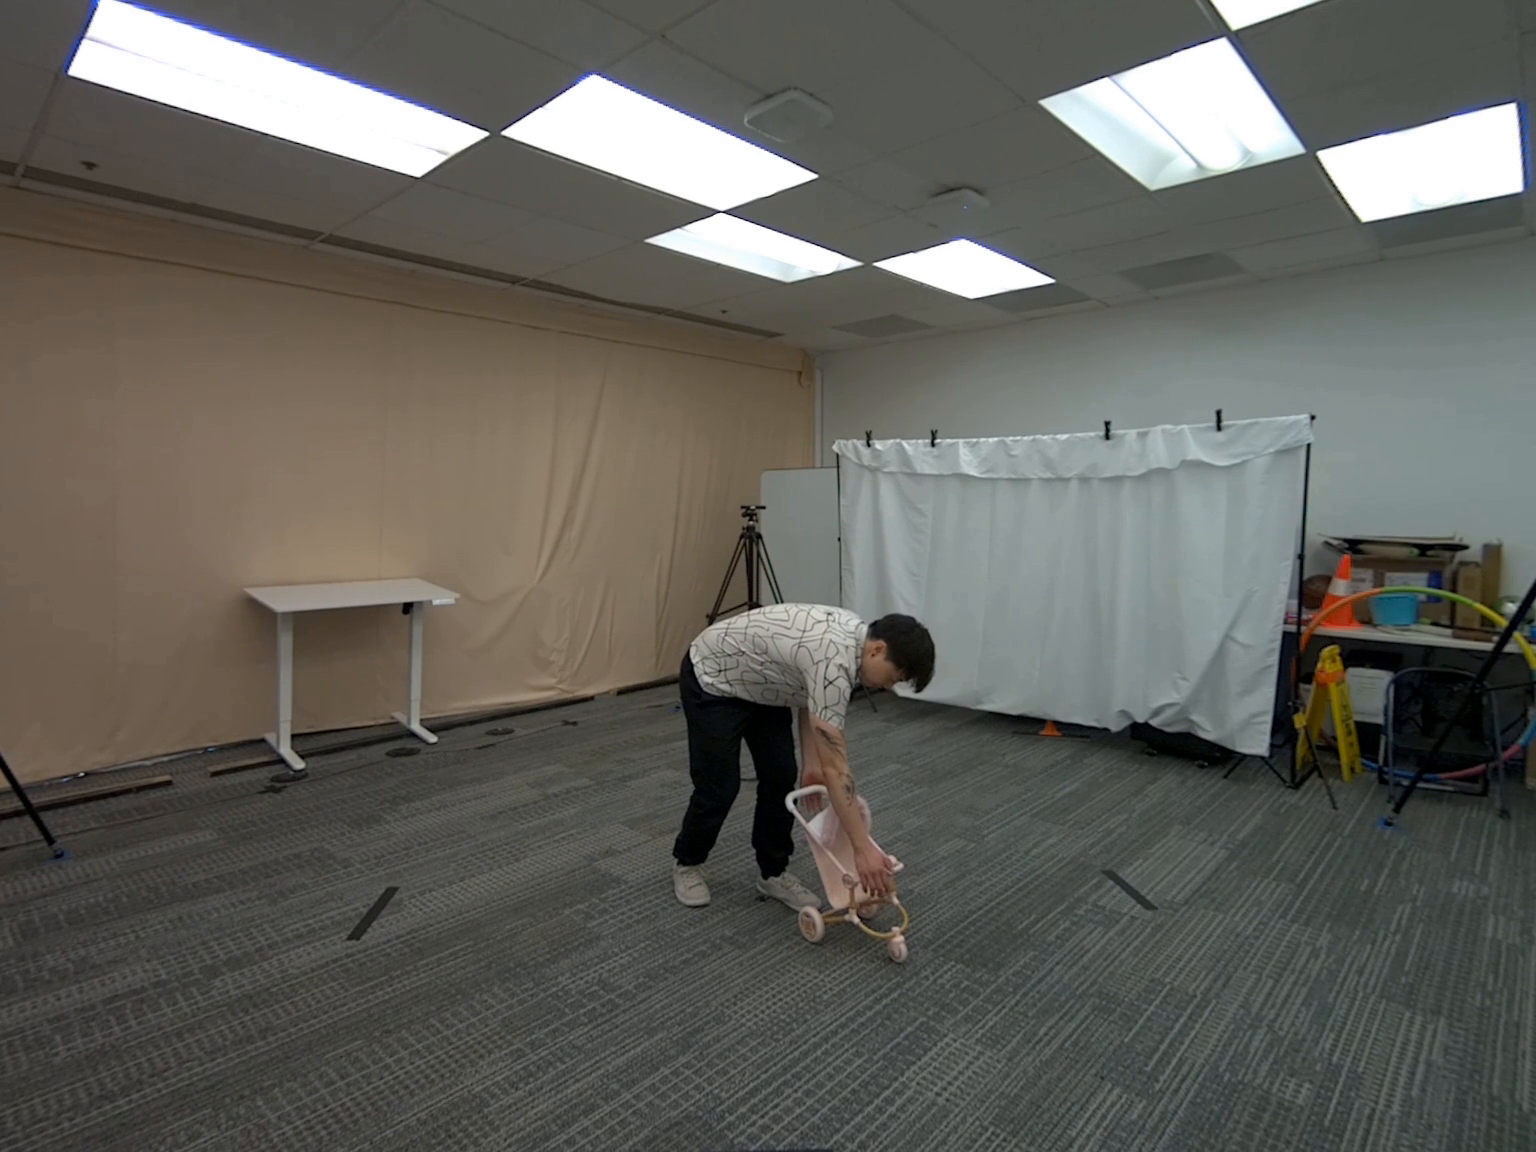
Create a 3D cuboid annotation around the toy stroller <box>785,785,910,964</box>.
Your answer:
[{"bbox_3d":[0.277,0.942,2.708,0.273,0.540,0.348,-2,-13,-36],"label":"toy stroller"}]
